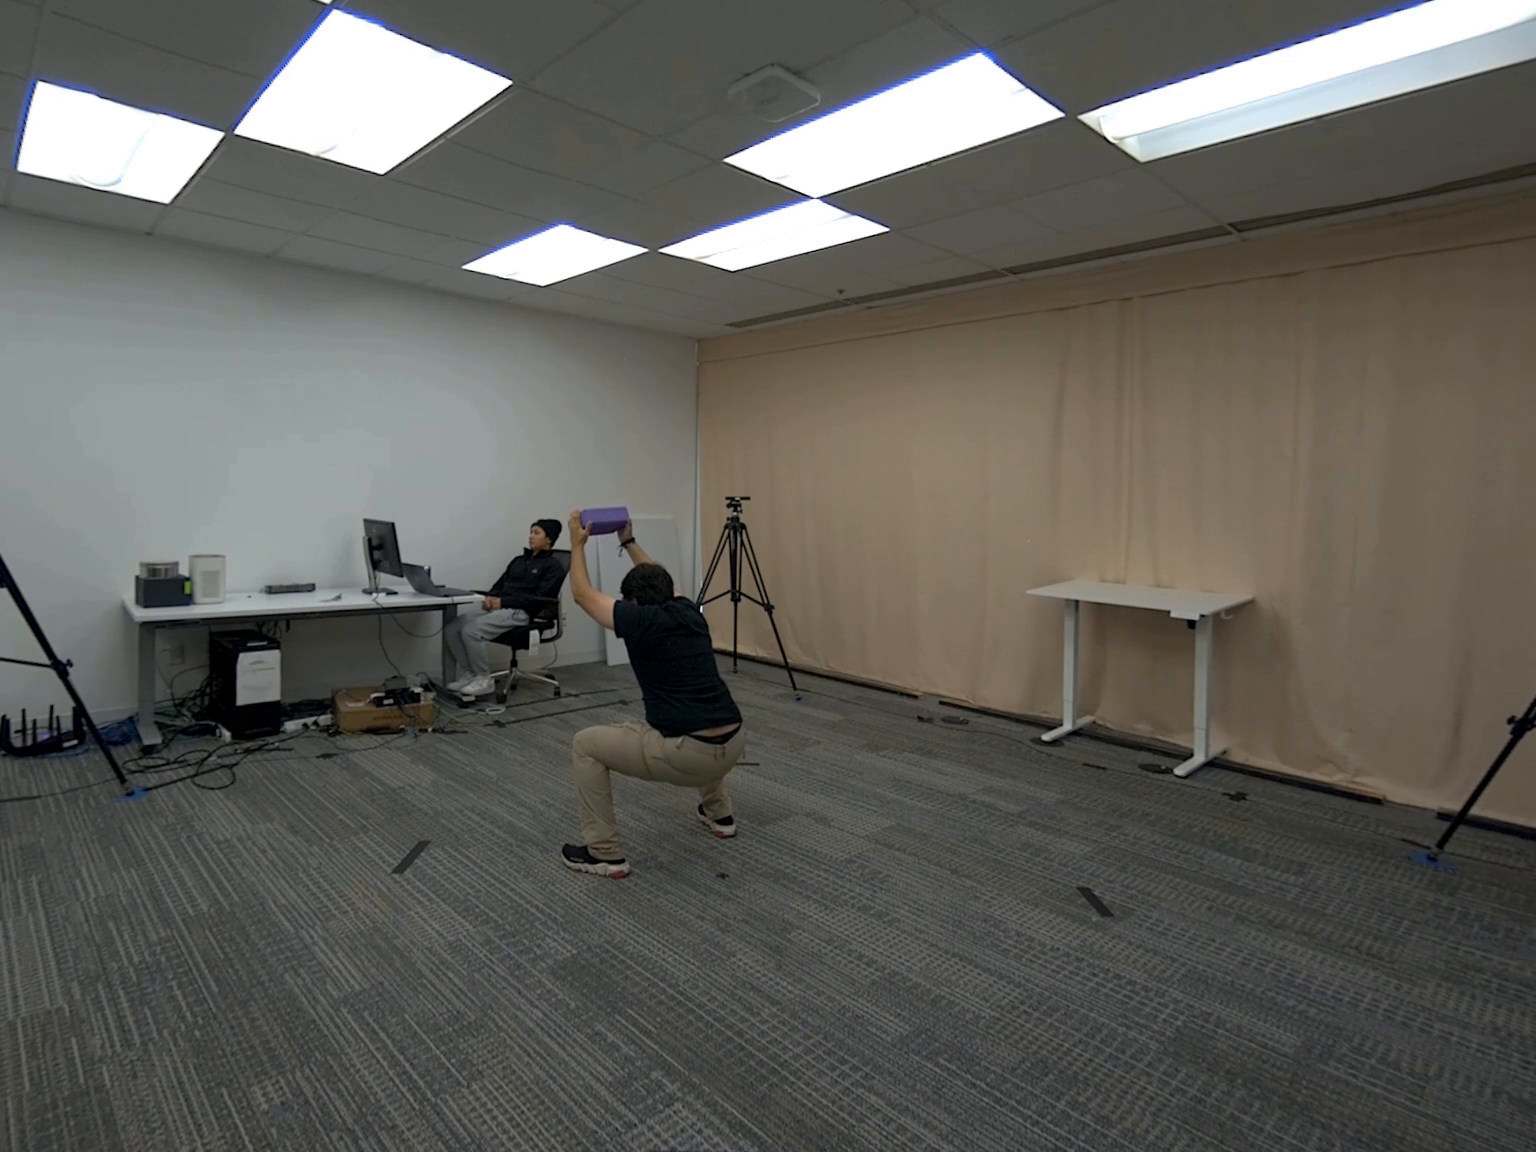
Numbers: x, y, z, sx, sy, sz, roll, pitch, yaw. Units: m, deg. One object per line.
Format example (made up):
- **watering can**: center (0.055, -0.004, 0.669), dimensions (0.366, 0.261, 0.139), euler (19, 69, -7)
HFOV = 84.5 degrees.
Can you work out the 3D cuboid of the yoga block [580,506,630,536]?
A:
- **yoga block**: center (-0.736, -0.235, 3.625), dimensions (0.225, 0.077, 0.150), euler (-10, -16, -48)
